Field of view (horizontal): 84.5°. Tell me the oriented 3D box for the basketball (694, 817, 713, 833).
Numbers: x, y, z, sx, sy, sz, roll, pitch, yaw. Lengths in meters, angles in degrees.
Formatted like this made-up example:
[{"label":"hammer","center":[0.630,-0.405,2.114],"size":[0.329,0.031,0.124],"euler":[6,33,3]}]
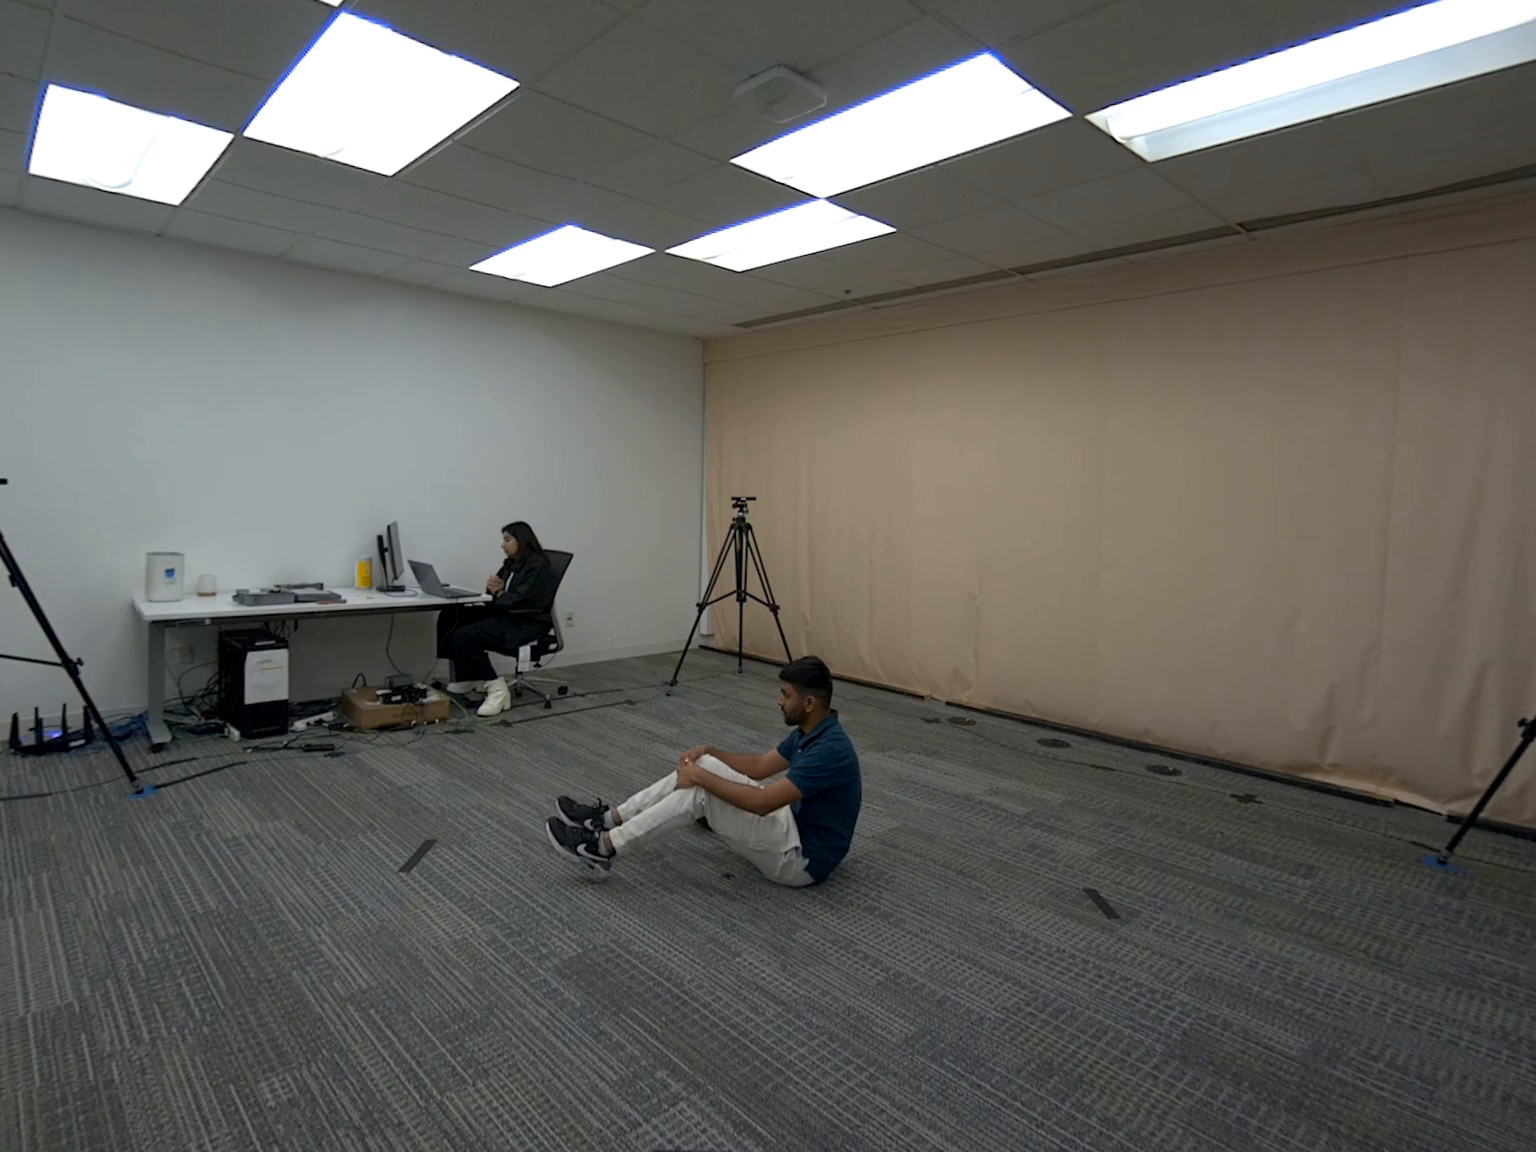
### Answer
[{"label":"basketball","center":[-0.247,0.942,3.592],"size":[0.236,0.235,0.237],"euler":[1,4,-1]}]
